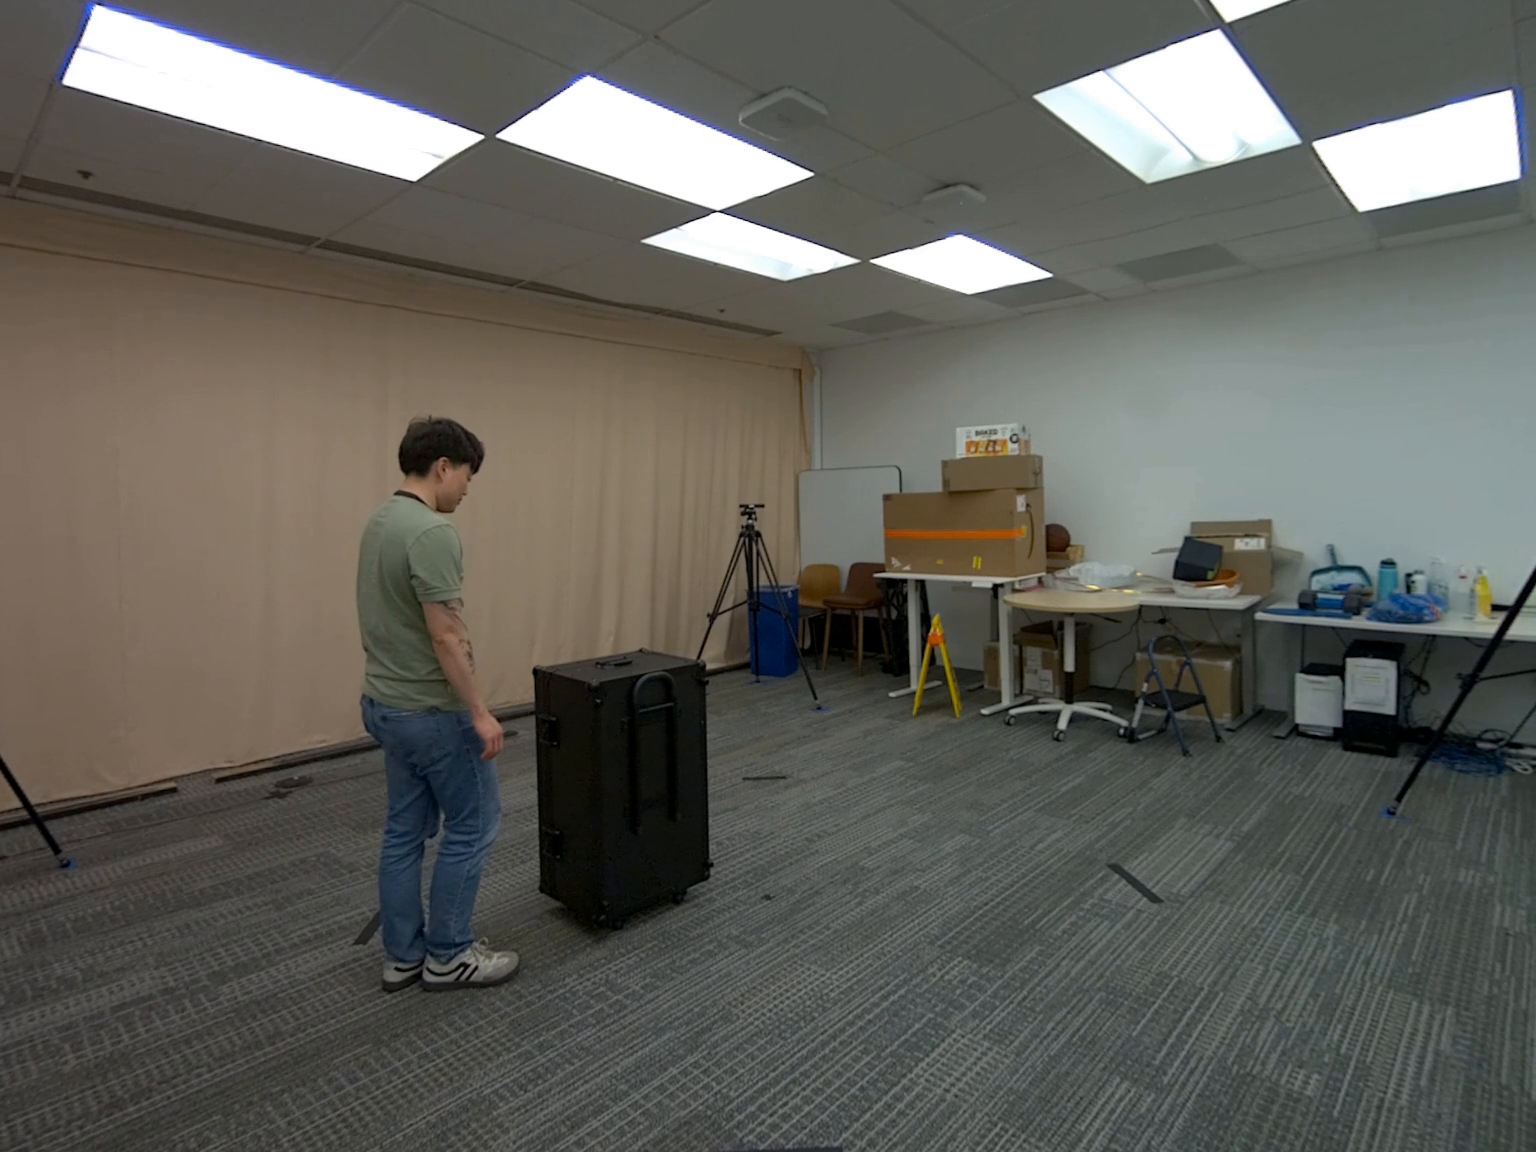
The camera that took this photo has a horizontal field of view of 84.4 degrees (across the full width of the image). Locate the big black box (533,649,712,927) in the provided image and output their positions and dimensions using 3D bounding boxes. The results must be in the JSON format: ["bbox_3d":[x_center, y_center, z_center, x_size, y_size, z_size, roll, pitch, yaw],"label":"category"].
[{"bbox_3d":[-0.489,0.730,2.924,0.505,0.859,0.409,-4,6,-45],"label":"big black box"}]
